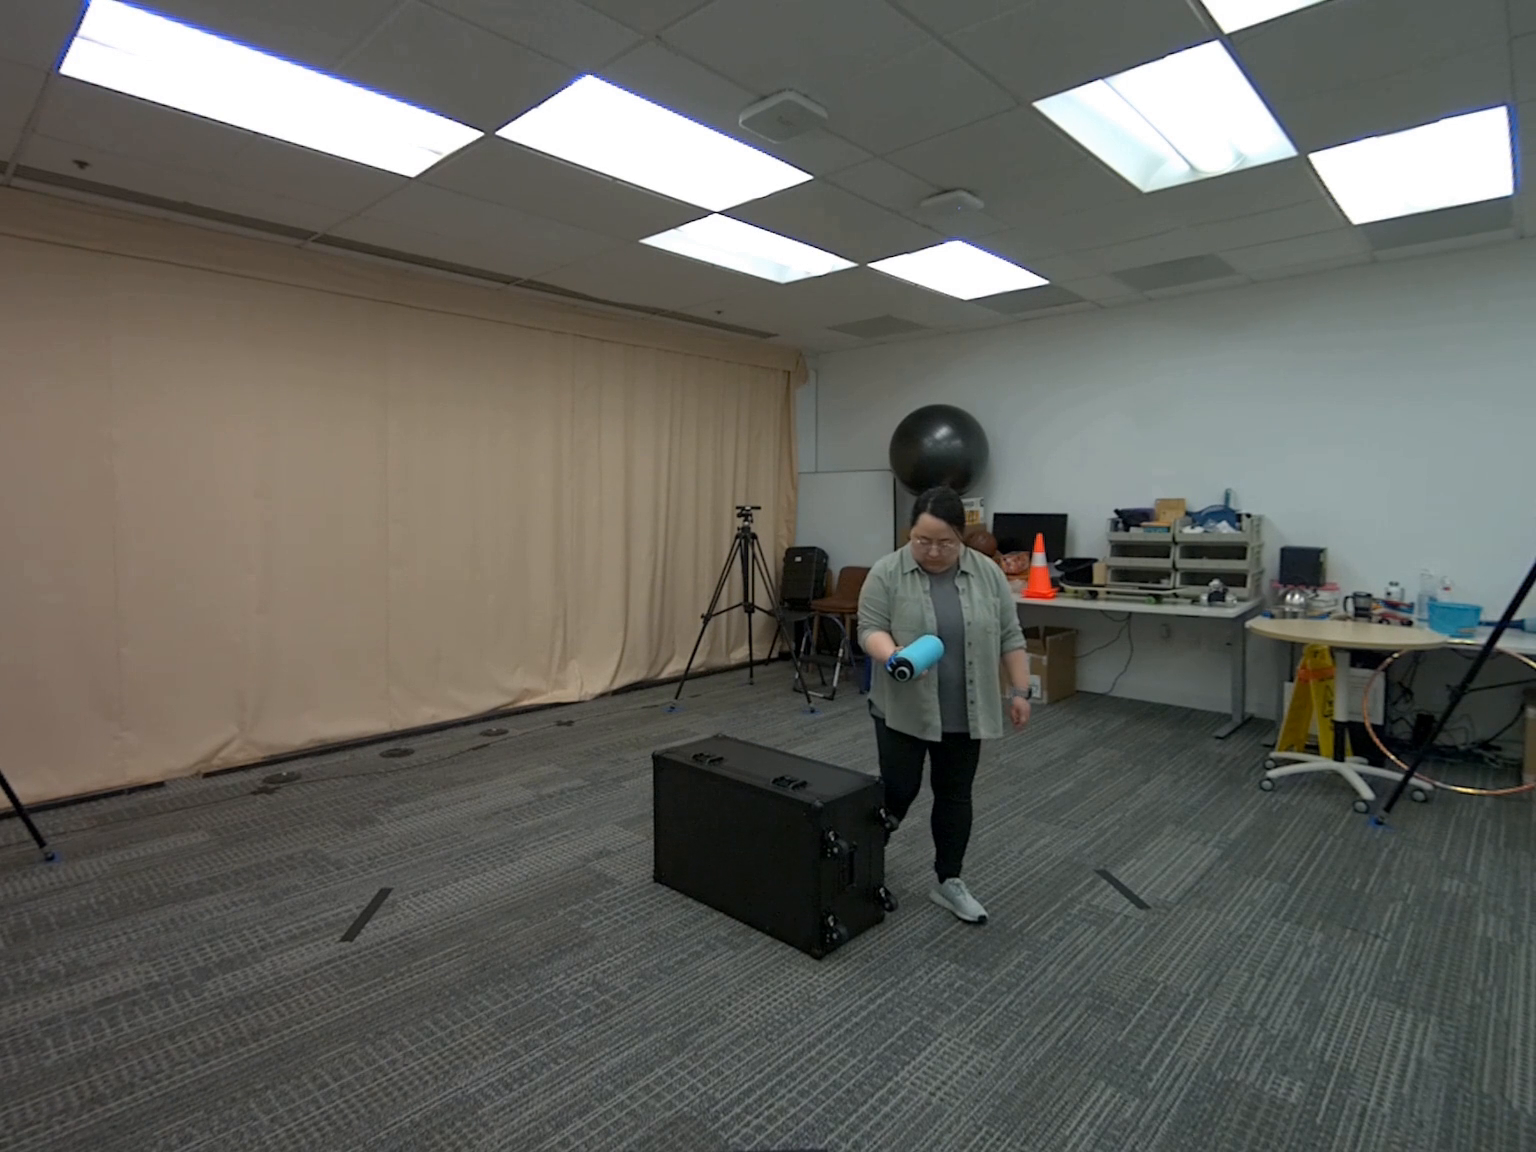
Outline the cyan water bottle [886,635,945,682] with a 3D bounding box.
[{"bbox_3d":[0.444,0.257,2.600,0.095,0.092,0.277,2,12,32],"label":"cyan water bottle"}]
